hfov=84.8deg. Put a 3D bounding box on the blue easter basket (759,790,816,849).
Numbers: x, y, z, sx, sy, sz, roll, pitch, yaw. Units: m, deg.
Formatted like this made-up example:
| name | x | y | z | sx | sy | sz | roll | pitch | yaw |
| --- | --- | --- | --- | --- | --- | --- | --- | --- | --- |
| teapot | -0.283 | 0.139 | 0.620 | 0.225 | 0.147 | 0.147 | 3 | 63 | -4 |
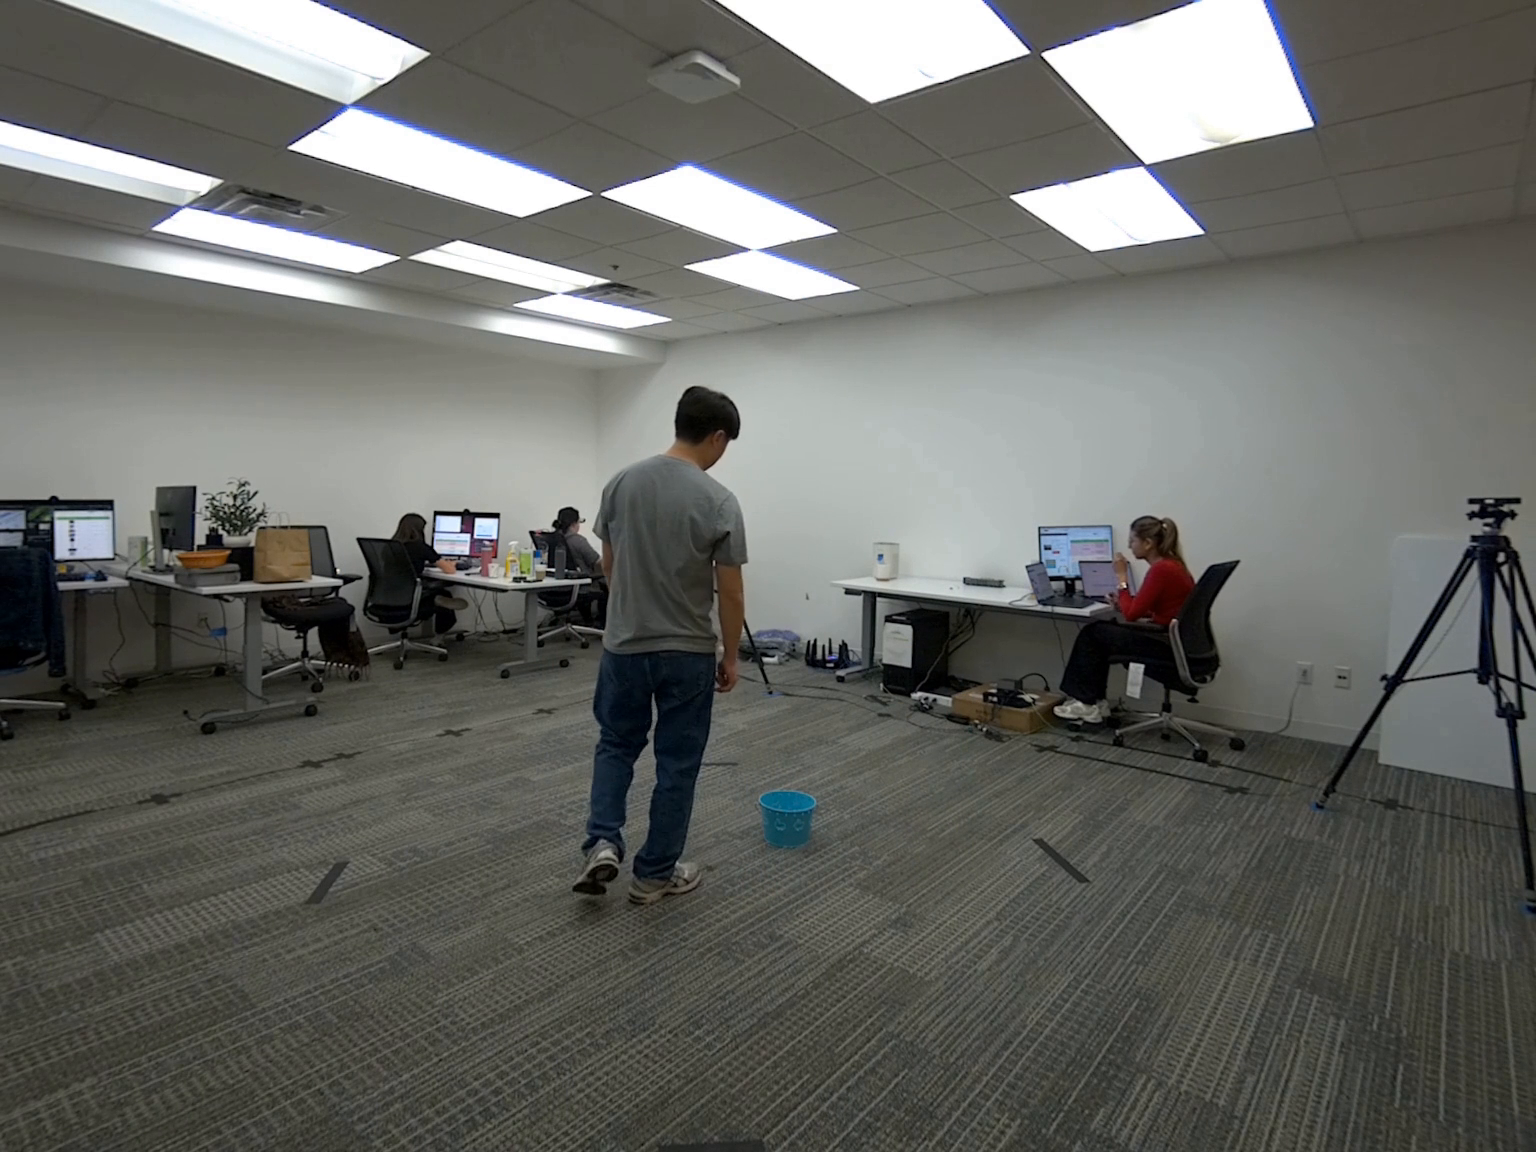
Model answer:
| name | x | y | z | sx | sy | sz | roll | pitch | yaw |
| --- | --- | --- | --- | --- | --- | --- | --- | --- | --- |
| blue easter basket | 0.072 | 0.966 | 3.398 | 0.243 | 0.155 | 0.245 | 1 | 5 | -2 |
